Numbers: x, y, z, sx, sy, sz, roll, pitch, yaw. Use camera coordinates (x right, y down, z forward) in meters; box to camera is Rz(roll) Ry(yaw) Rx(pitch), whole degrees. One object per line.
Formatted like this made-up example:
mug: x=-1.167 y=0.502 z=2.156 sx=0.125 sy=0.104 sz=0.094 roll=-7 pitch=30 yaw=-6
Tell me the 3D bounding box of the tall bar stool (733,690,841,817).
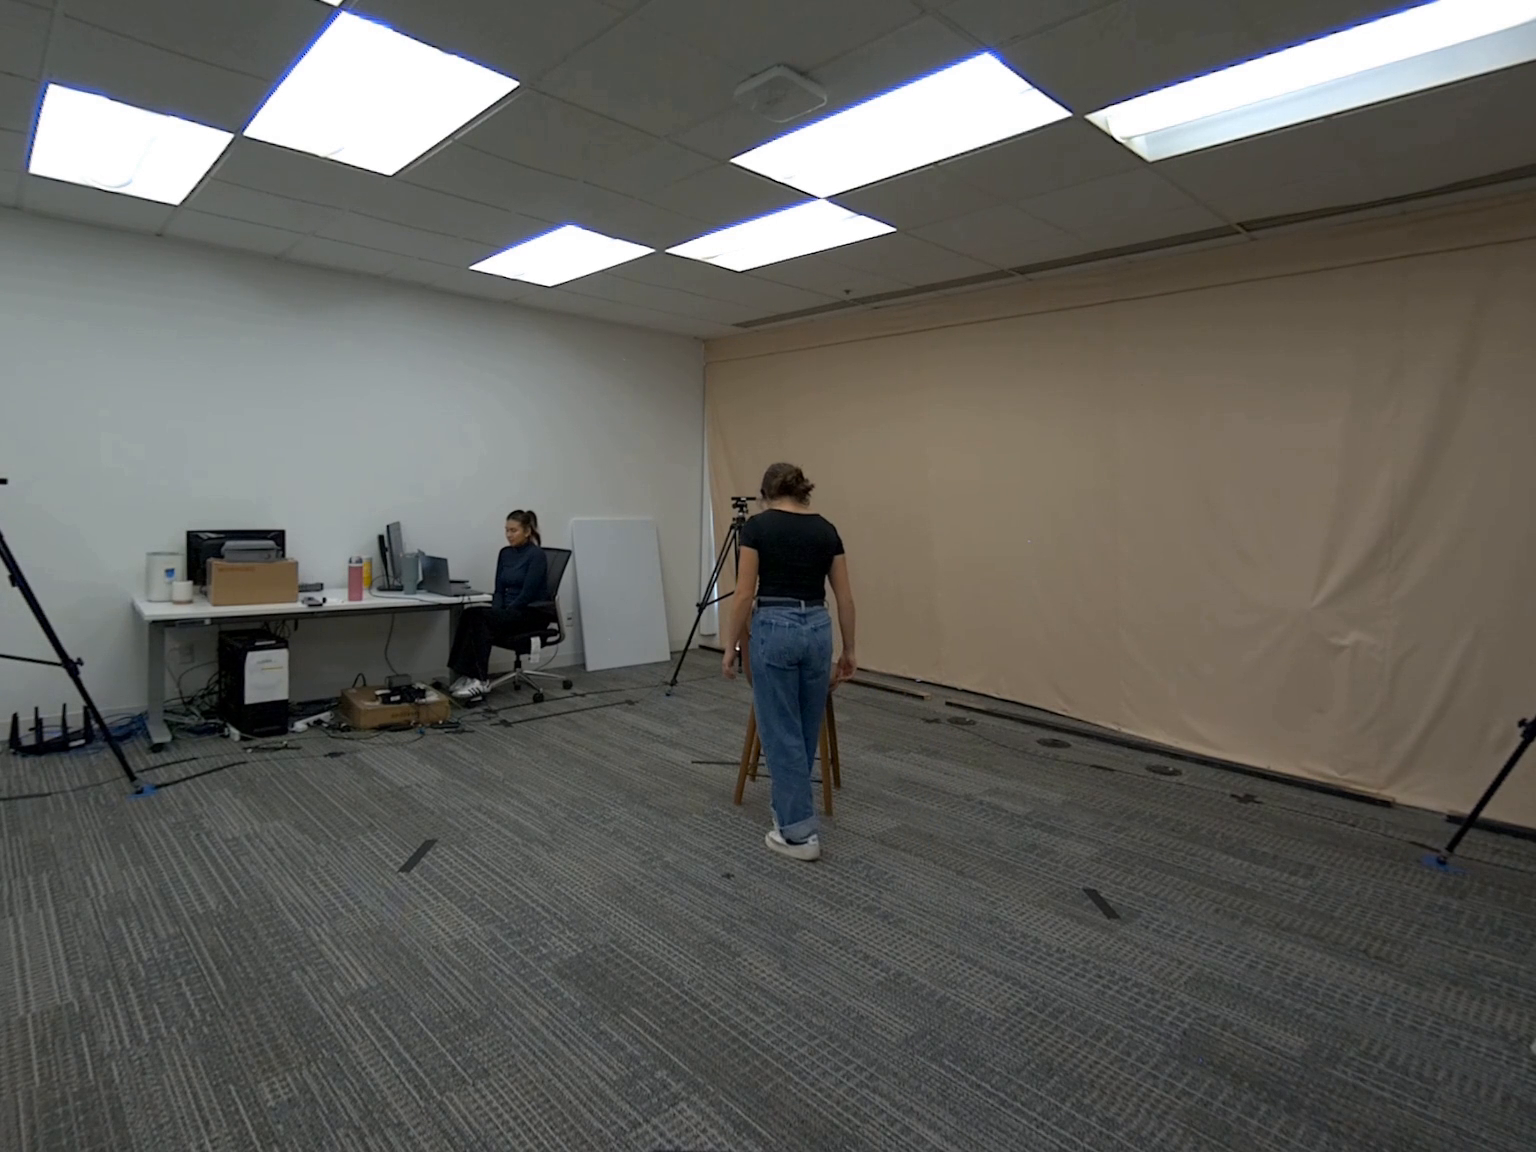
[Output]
tall bar stool: x=0.103 y=0.607 z=3.955 sx=0.472 sy=0.888 sz=0.452 roll=1 pitch=2 yaw=12
